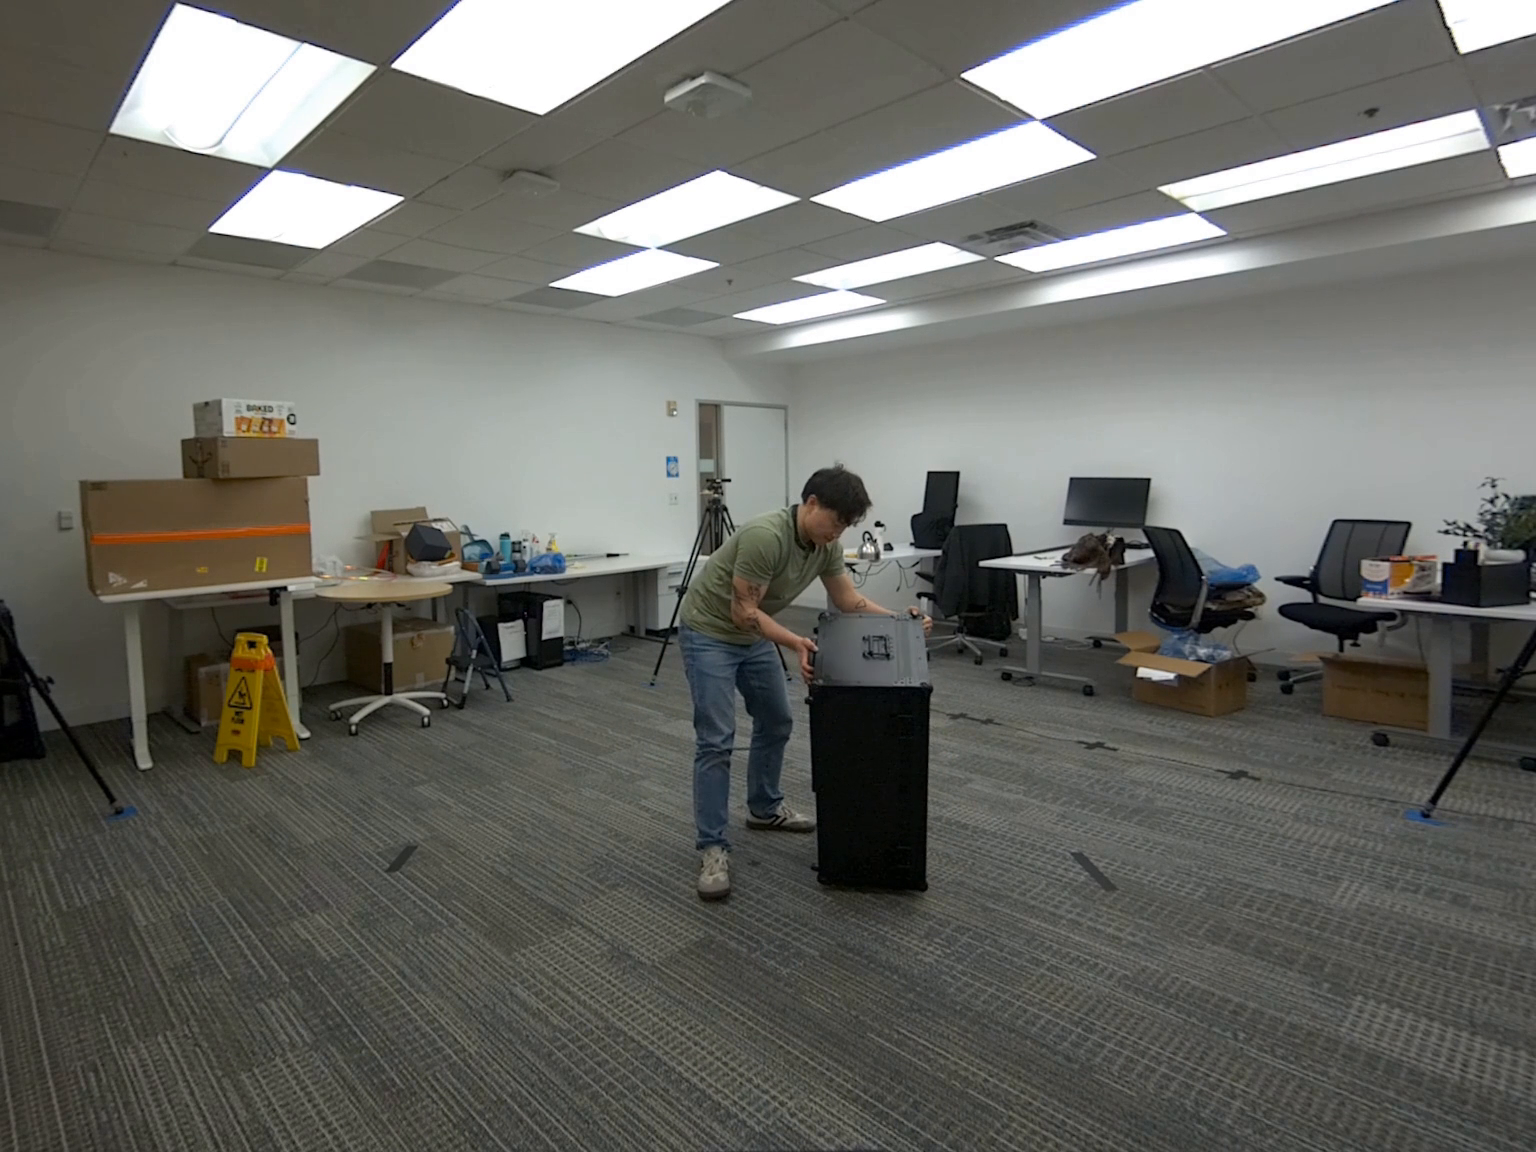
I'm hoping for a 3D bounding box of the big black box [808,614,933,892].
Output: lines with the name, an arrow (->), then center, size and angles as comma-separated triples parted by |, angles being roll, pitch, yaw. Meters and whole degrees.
big black box -> 0.345, 0.566, 2.914 | 0.400, 0.845, 0.526 | 1, 22, 9
